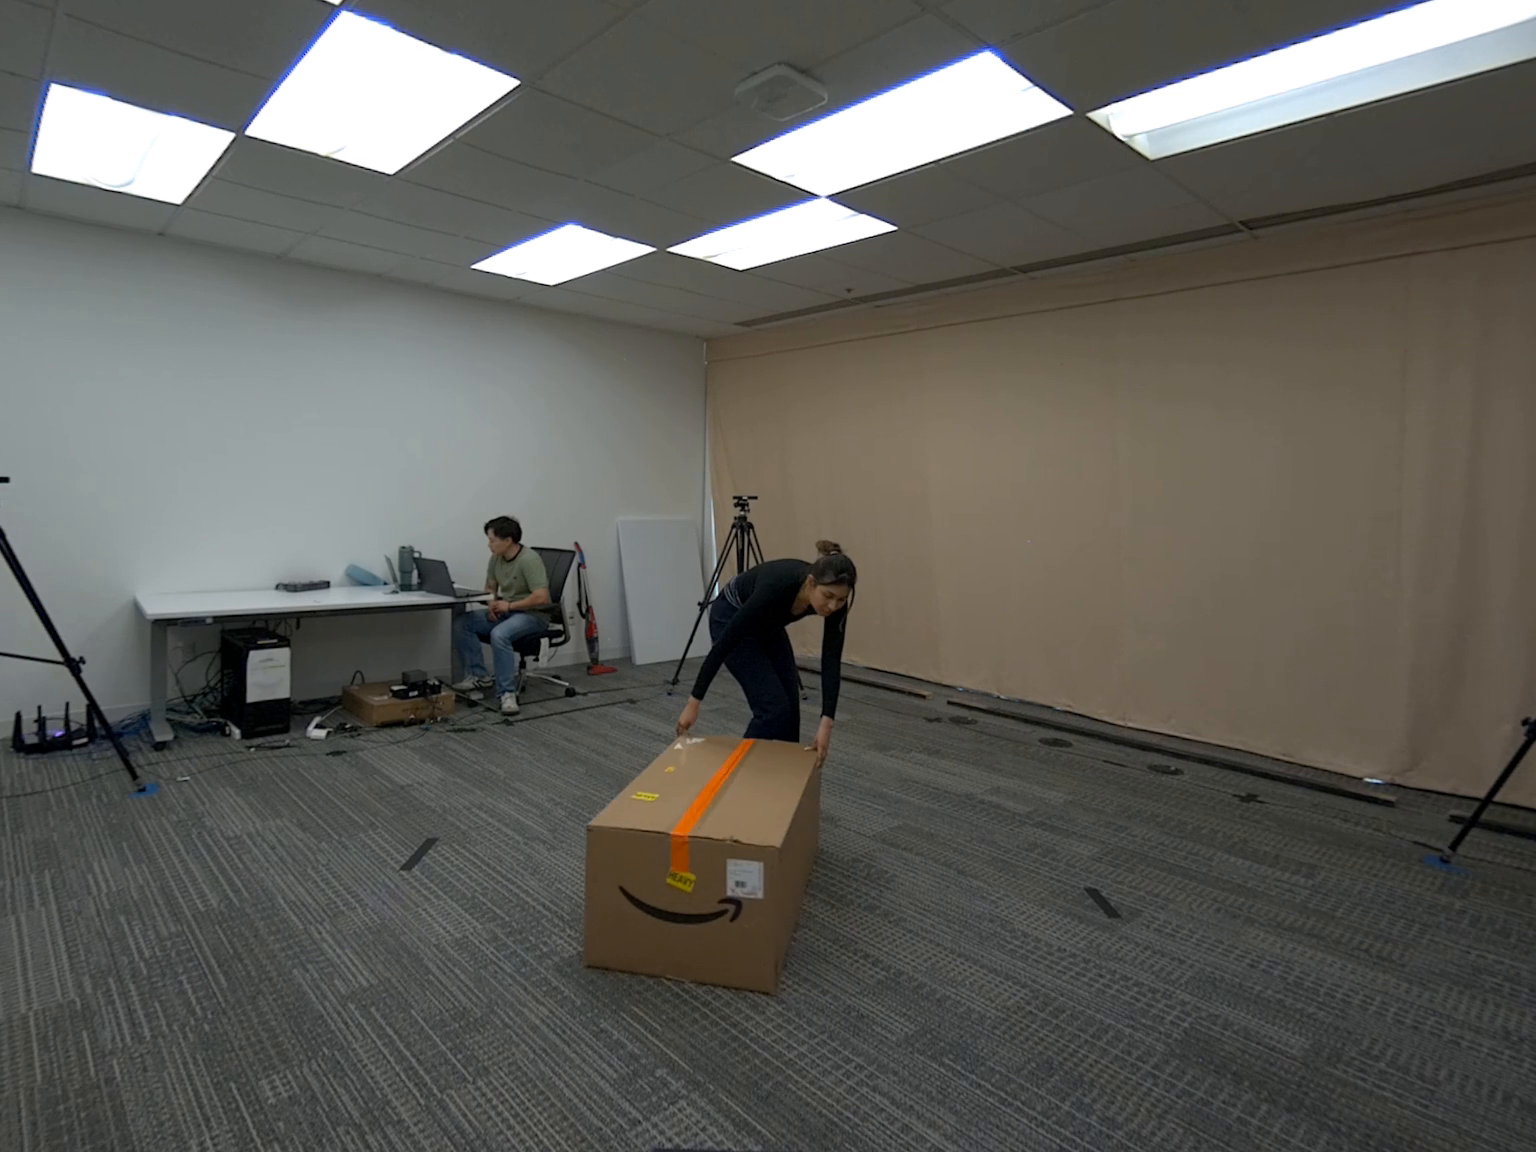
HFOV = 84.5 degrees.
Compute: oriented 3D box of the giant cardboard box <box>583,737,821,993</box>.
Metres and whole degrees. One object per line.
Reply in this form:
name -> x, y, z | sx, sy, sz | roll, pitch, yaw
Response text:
giant cardboard box -> -0.171, 0.905, 2.896 | 0.583, 0.425, 1.019 | 2, 5, 11
